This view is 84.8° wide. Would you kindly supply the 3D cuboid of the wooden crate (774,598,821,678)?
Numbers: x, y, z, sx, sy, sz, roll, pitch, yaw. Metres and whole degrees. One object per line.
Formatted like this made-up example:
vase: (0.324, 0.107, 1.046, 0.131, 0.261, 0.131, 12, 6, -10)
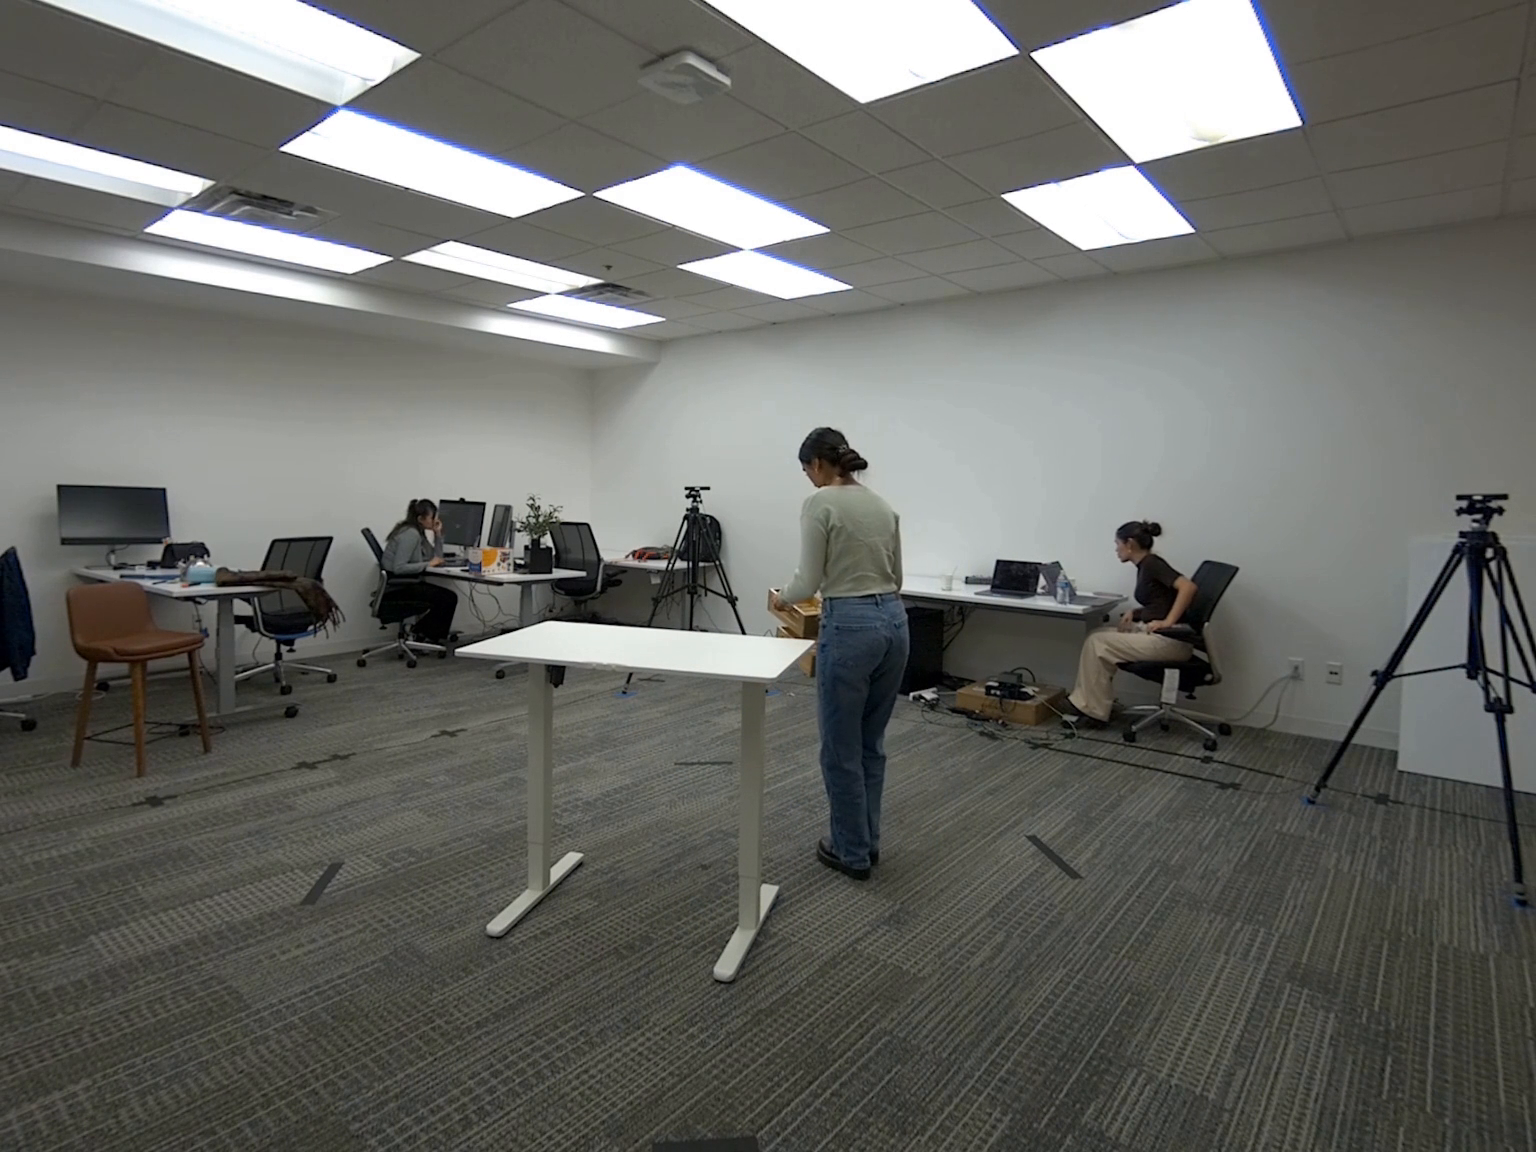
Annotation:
wooden crate: (0.206, 0.203, 3.379, 0.296, 0.269, 0.336, -6, 19, -23)
